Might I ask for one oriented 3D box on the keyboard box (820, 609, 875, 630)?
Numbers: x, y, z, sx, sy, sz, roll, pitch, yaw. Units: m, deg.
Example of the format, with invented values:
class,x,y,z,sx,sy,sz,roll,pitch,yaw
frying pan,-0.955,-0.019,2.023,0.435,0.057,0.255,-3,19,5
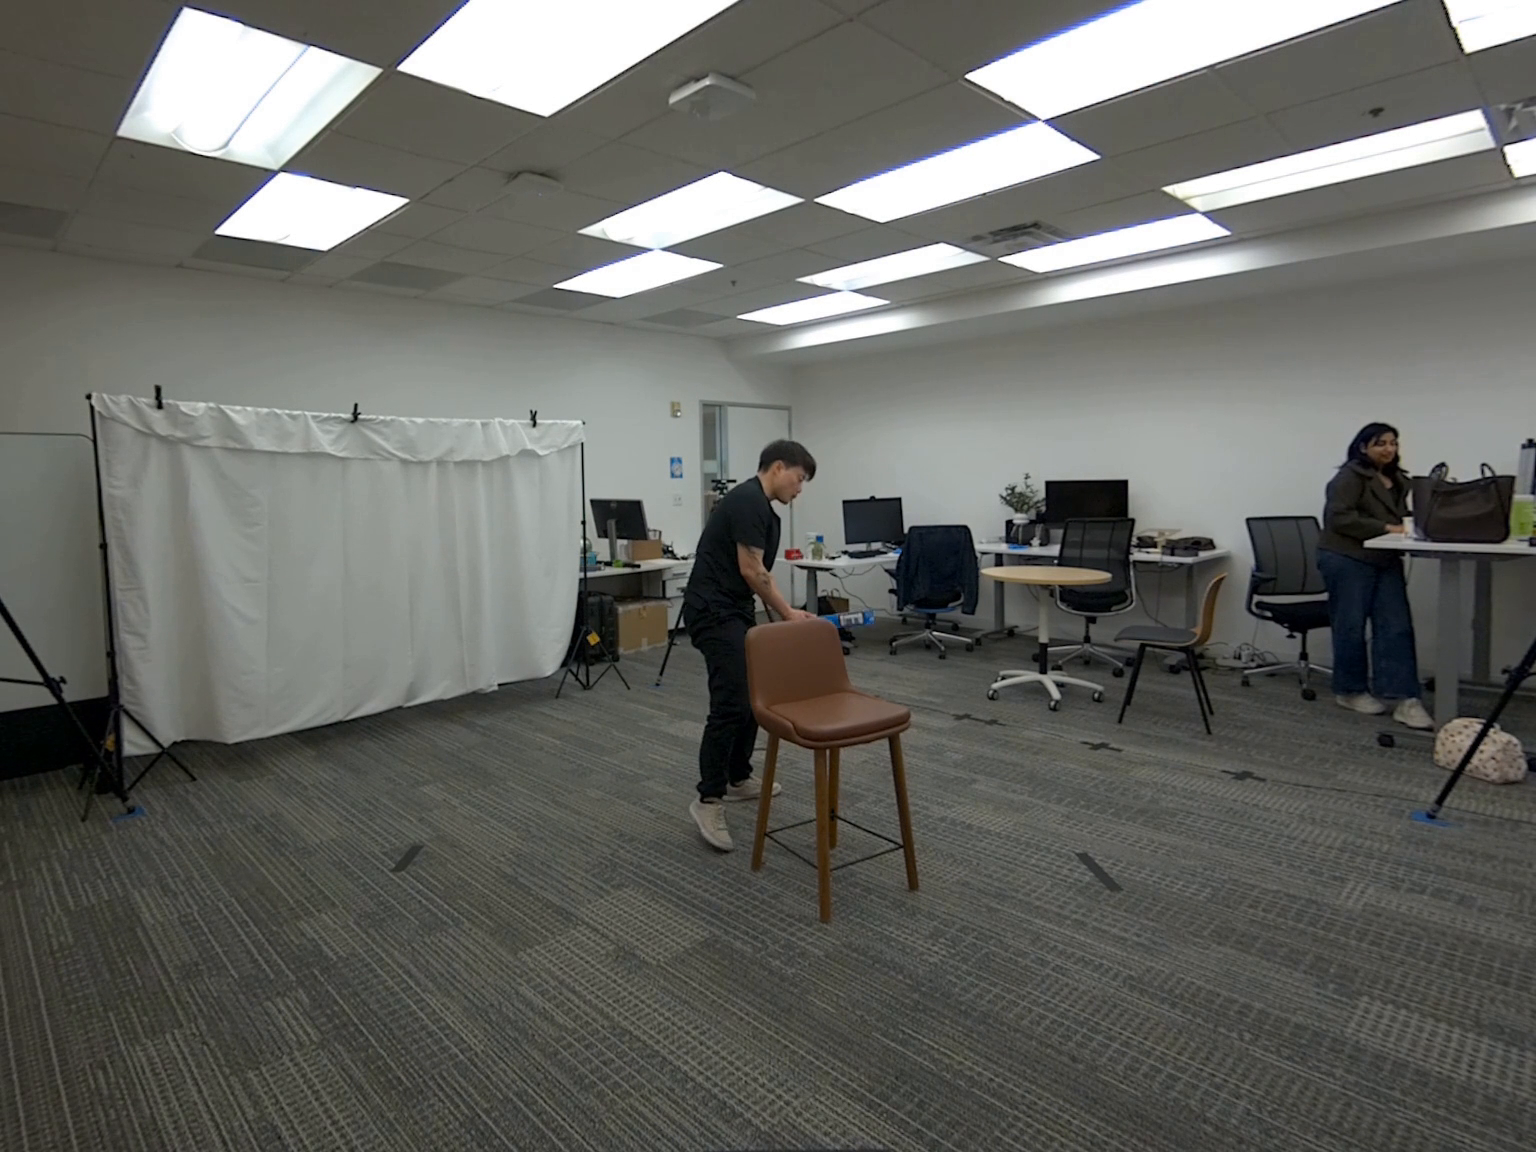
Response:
class,x,y,z,sx,sy,sz,roll,pitch,yaw
keyboard box,0.207,0.207,3.579,0.444,0.059,0.172,-9,-3,20
